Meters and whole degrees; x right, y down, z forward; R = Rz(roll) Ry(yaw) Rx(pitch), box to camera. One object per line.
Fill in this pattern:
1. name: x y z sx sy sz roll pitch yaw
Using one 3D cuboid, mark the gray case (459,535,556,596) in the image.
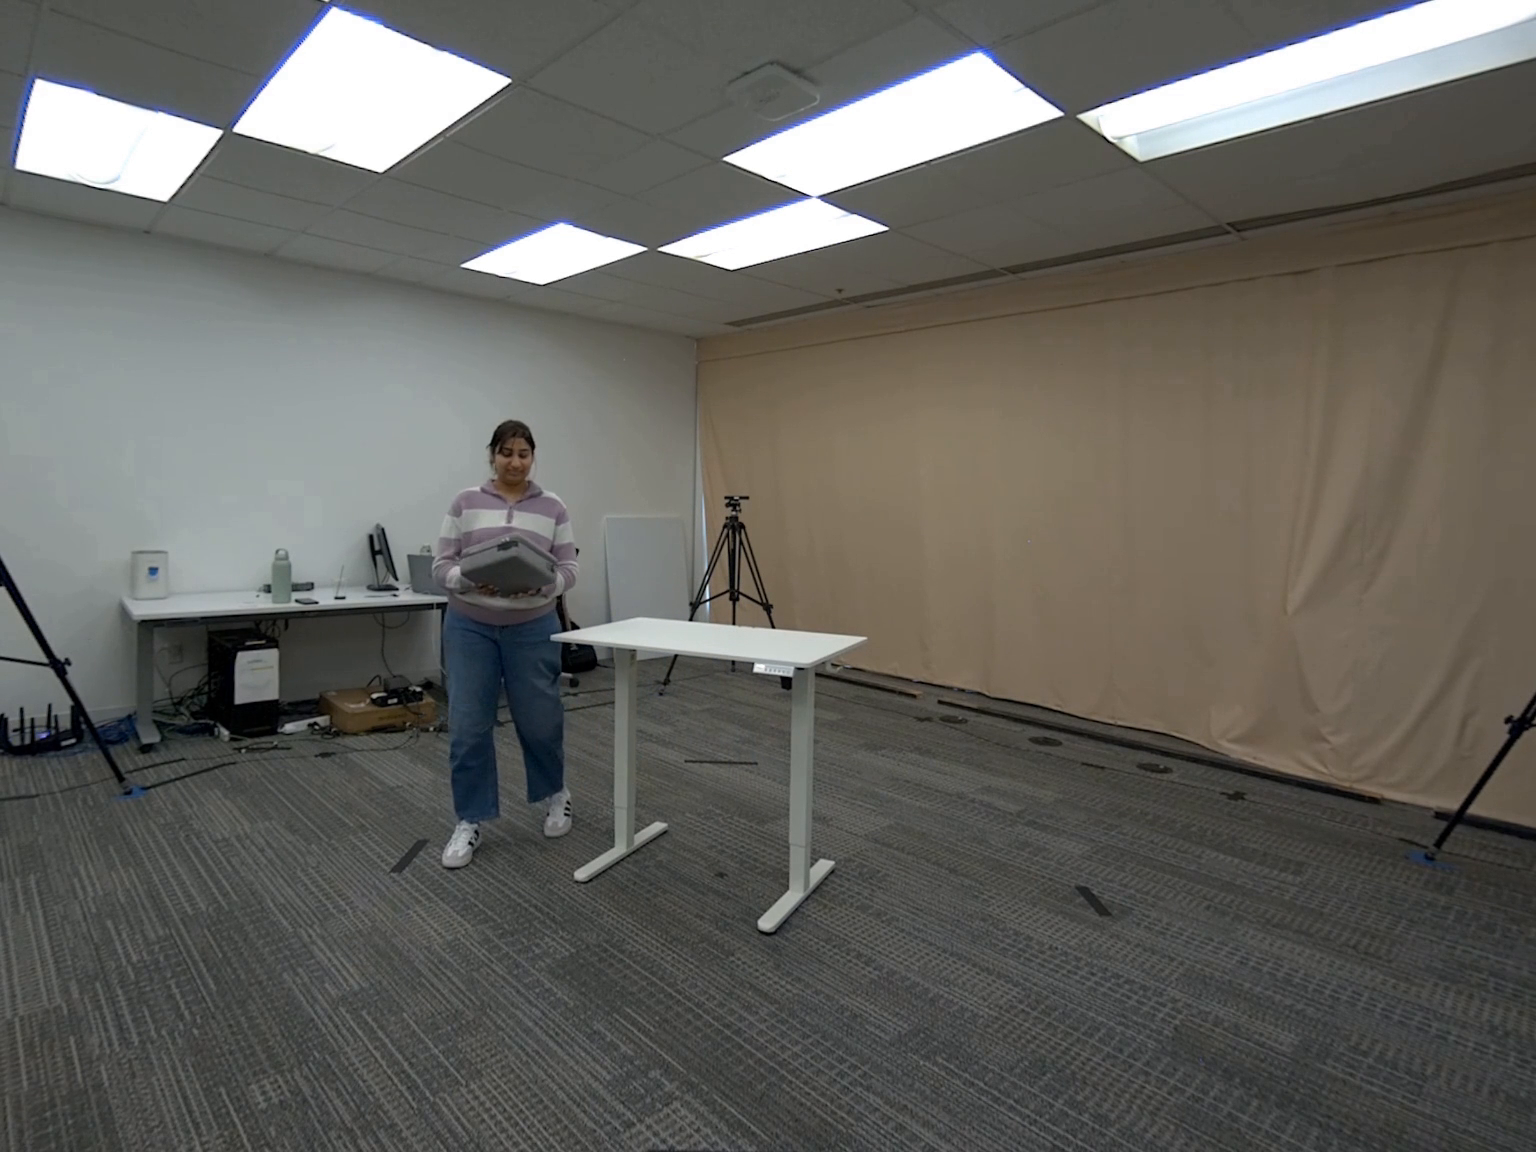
1. gray case: -0.925 -0.035 2.921 0.259 0.106 0.253 -16 -29 17
